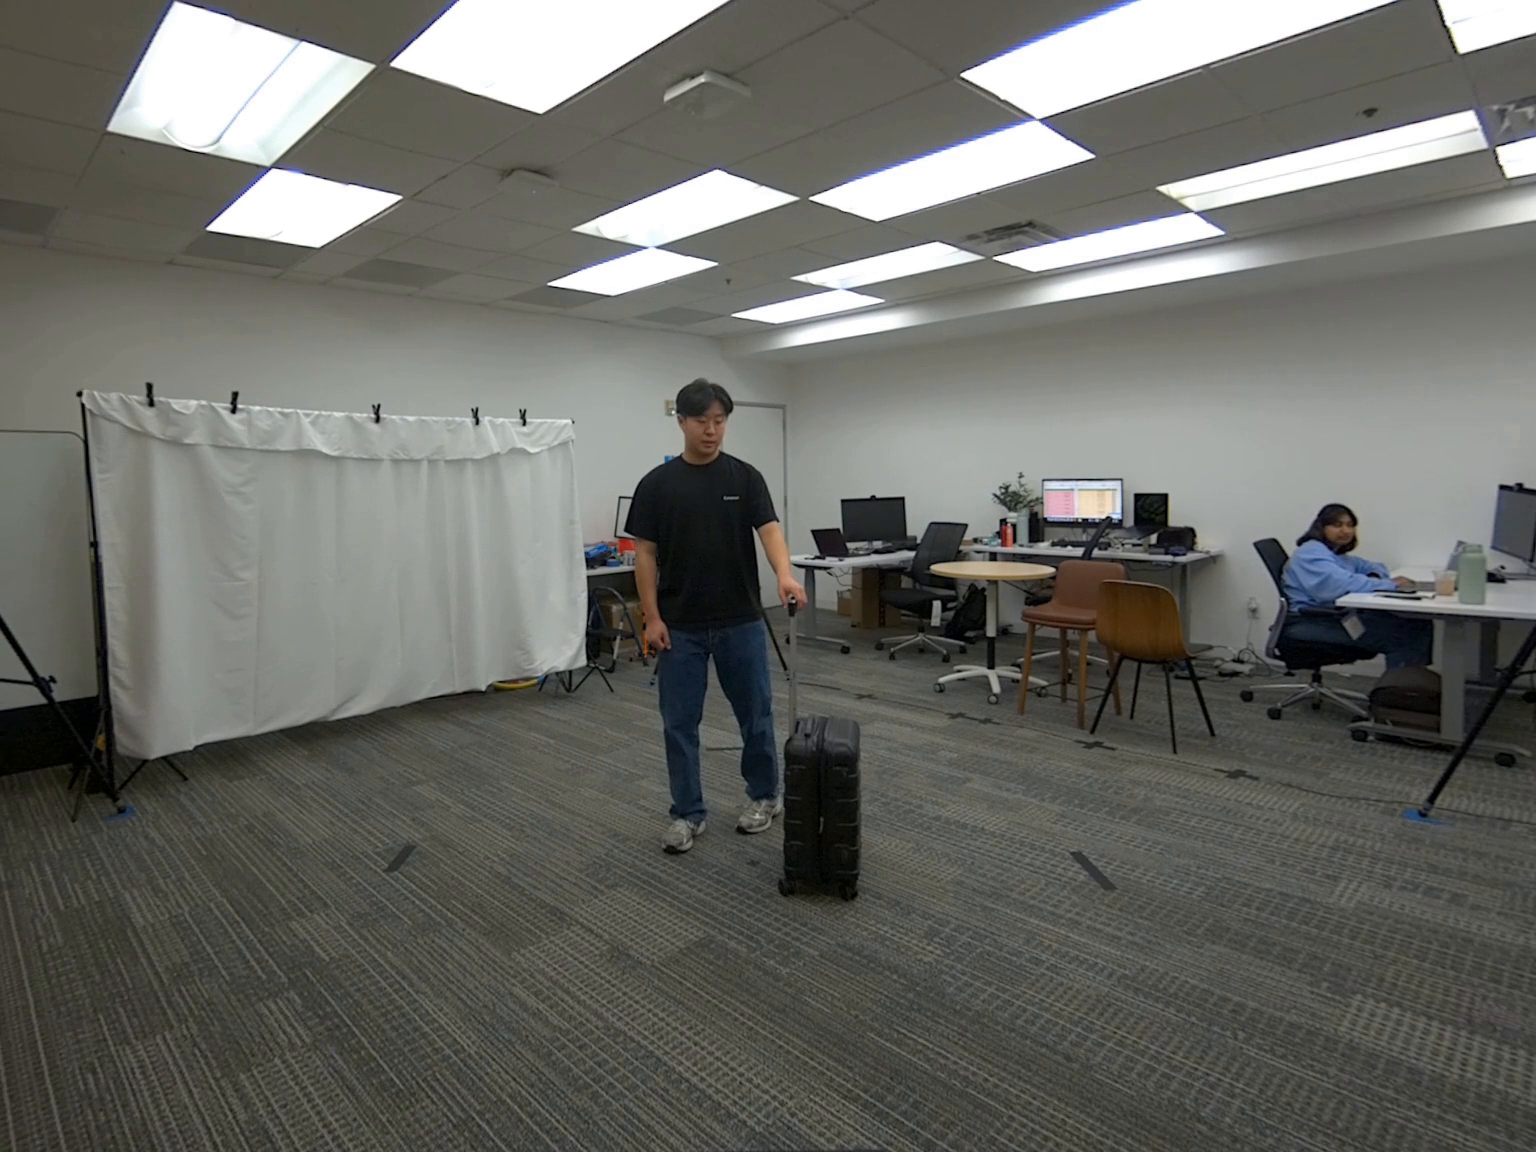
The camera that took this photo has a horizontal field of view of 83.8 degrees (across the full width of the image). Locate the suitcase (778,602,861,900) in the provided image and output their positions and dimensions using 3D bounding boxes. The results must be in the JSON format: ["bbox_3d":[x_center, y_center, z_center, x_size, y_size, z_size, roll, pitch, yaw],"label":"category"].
[{"bbox_3d":[0.198,0.579,2.940,0.259,0.974,0.382,1,5,9],"label":"suitcase"}]
